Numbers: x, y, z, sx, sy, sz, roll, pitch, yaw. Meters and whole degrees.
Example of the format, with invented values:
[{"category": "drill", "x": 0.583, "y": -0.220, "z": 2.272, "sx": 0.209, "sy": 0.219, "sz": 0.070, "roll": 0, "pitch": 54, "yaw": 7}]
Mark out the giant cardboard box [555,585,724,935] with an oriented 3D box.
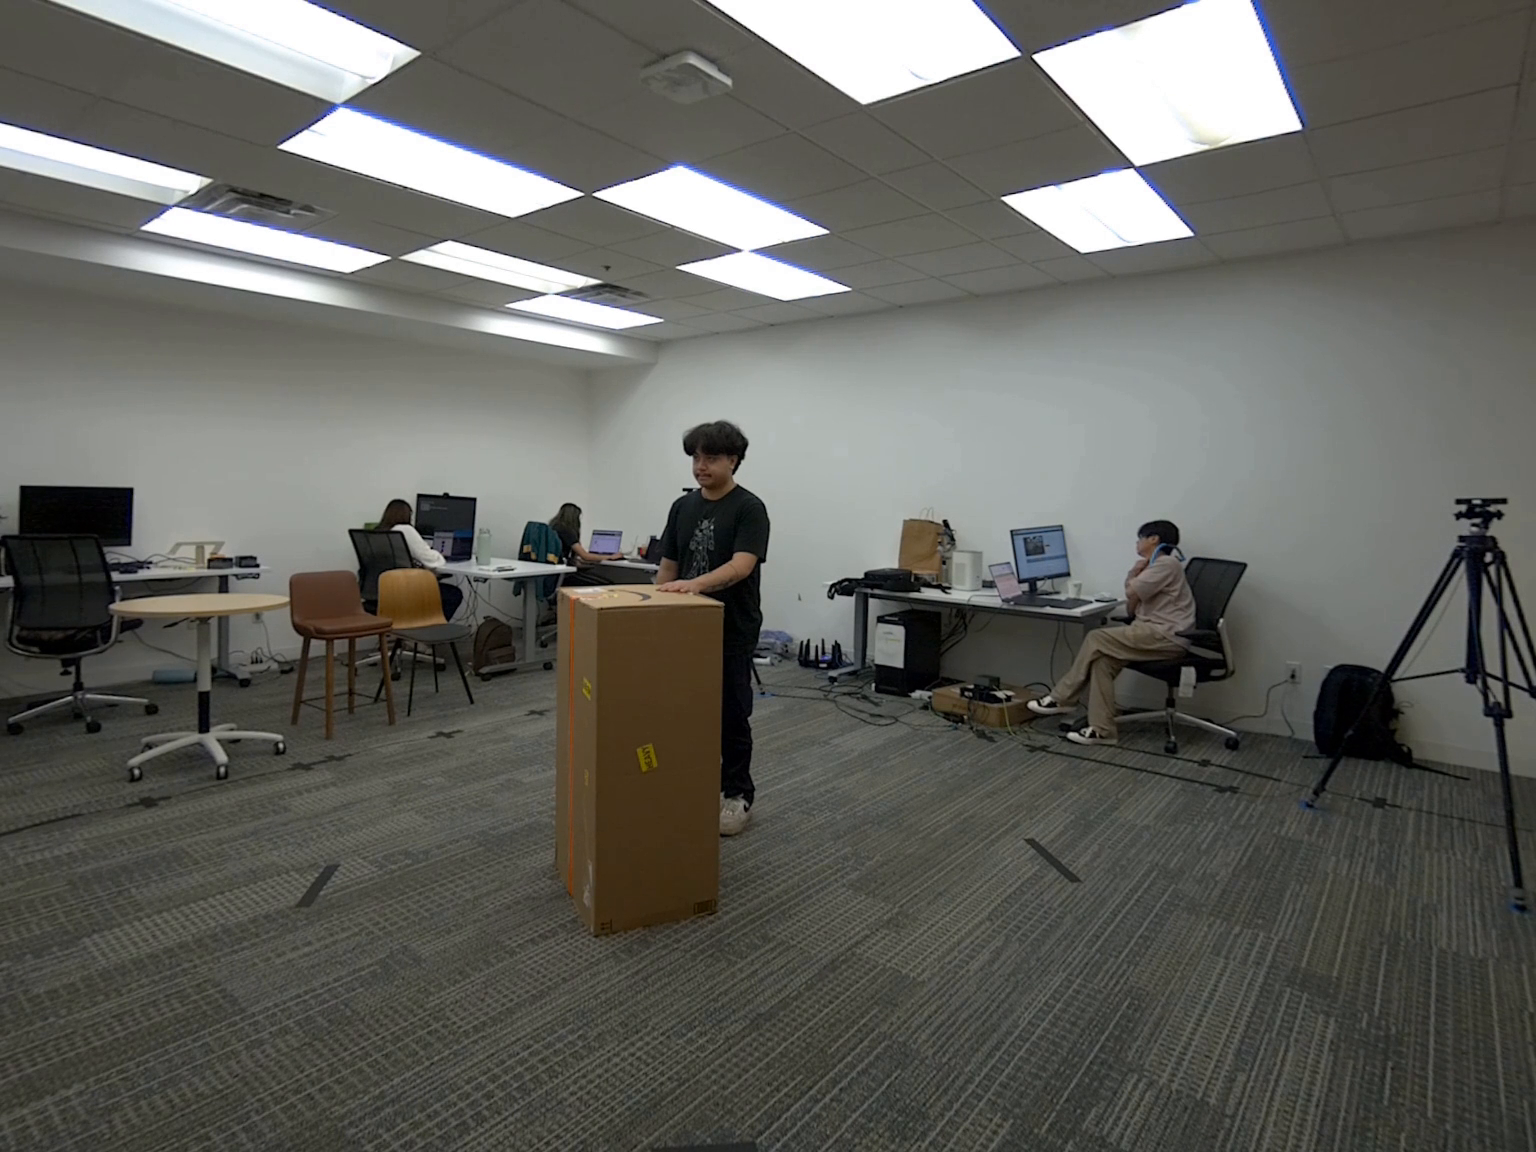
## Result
[{"category": "giant cardboard box", "x": -0.478, "y": 0.569, "z": 2.940, "sx": 0.436, "sy": 1.024, "sz": 0.599, "roll": -1, "pitch": 4, "yaw": -25}]
